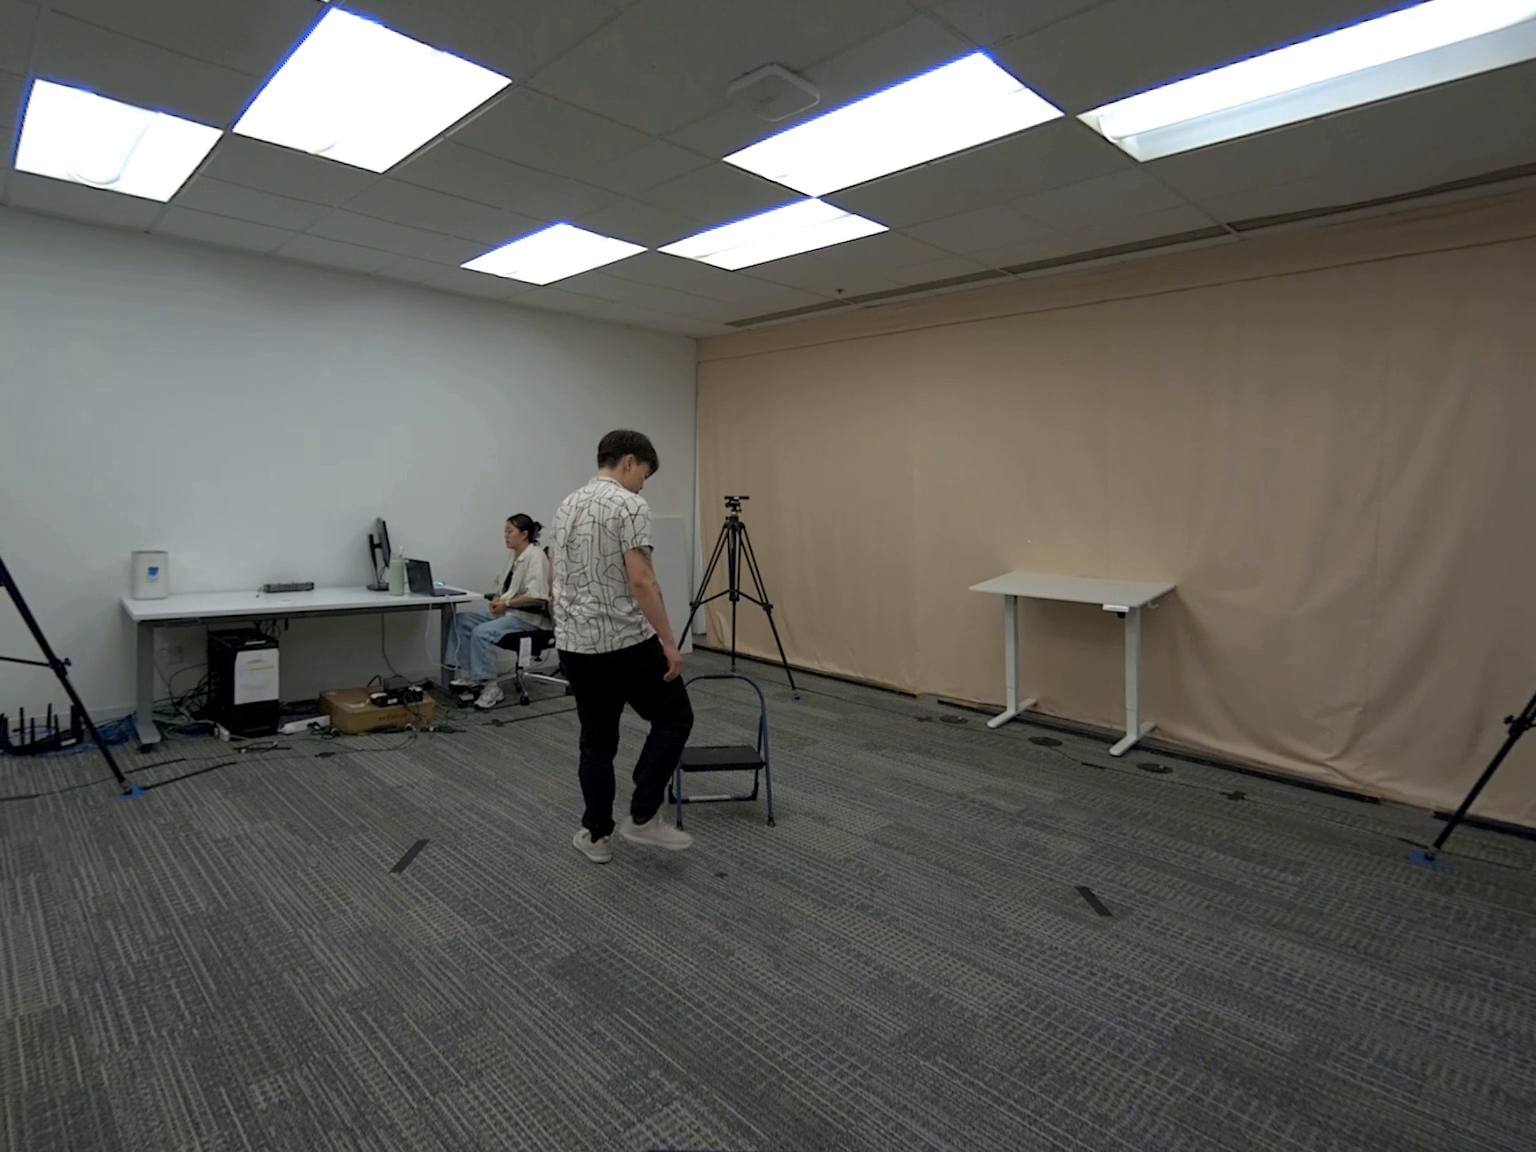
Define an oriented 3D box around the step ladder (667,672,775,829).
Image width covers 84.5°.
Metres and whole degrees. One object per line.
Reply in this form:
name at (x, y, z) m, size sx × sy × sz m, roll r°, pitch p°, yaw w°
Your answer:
step ladder at (-0.214, 0.746, 3.699) m, size 0.426 × 0.605 × 0.353 m, roll 1°, pitch 3°, yaw -13°
